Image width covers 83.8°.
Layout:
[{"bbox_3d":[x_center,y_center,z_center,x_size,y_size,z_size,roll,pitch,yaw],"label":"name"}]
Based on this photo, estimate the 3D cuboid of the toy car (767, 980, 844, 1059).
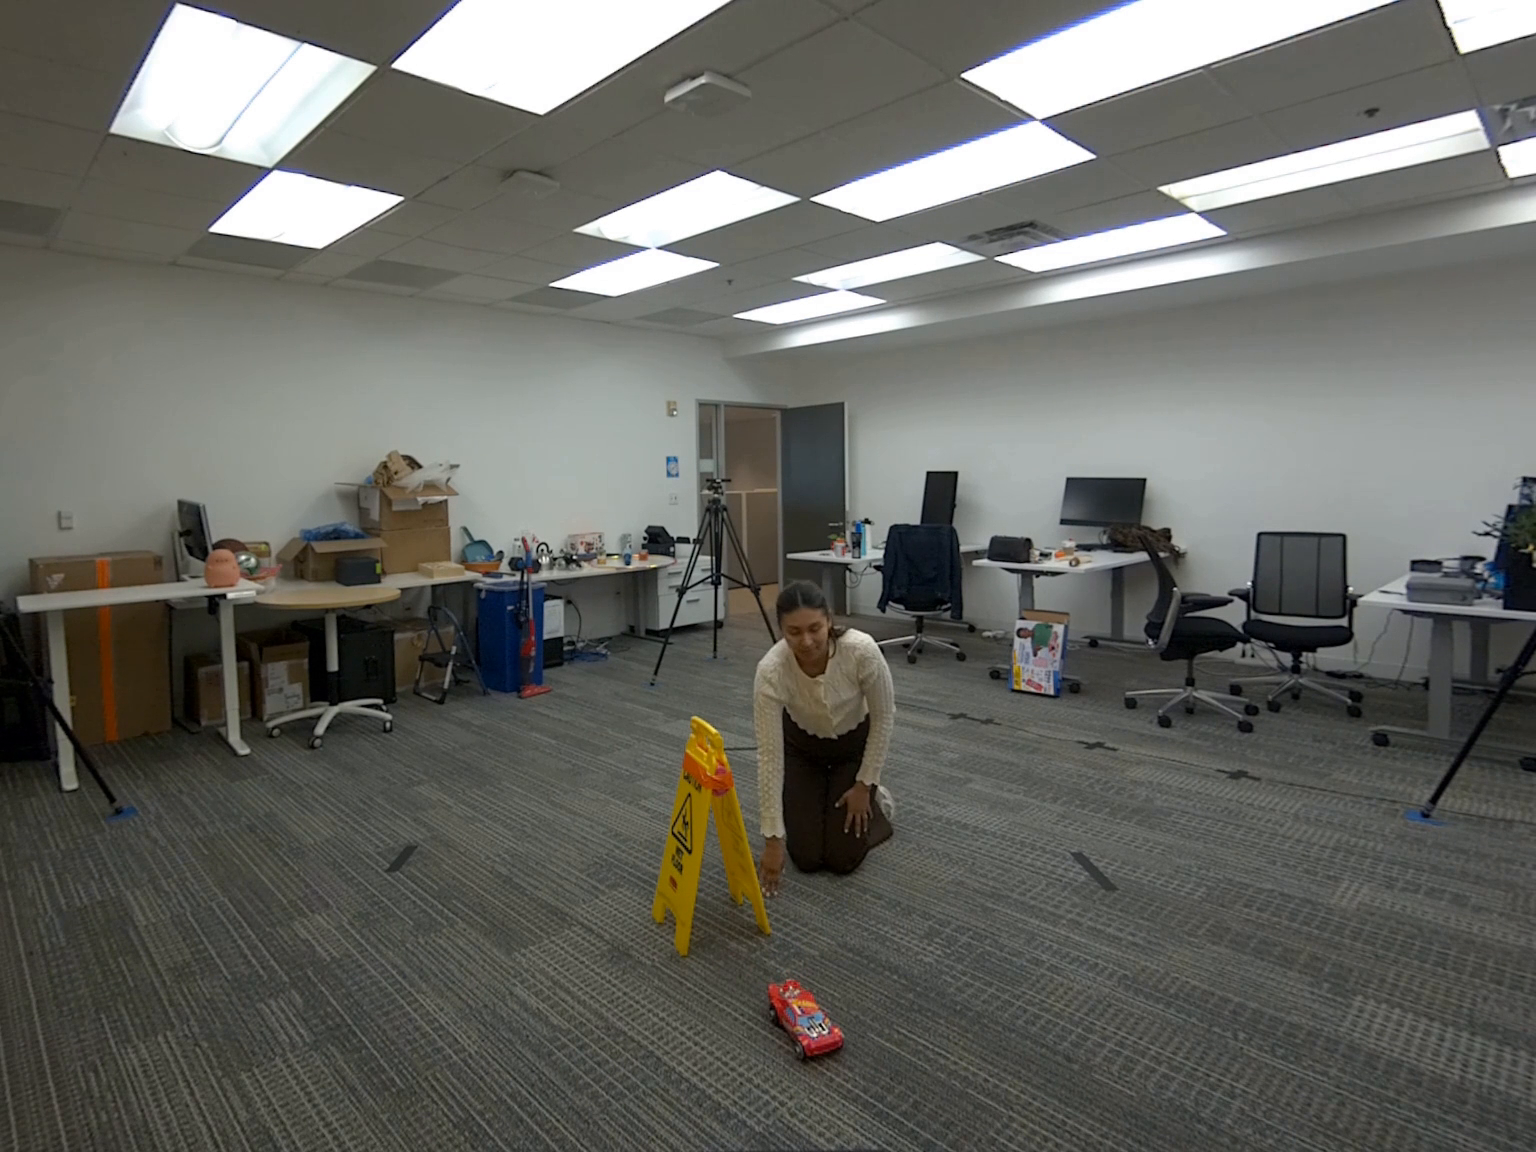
[{"bbox_3d":[0.090,1.125,2.163,0.128,0.082,0.263,-5,18,-22],"label":"toy car"}]
